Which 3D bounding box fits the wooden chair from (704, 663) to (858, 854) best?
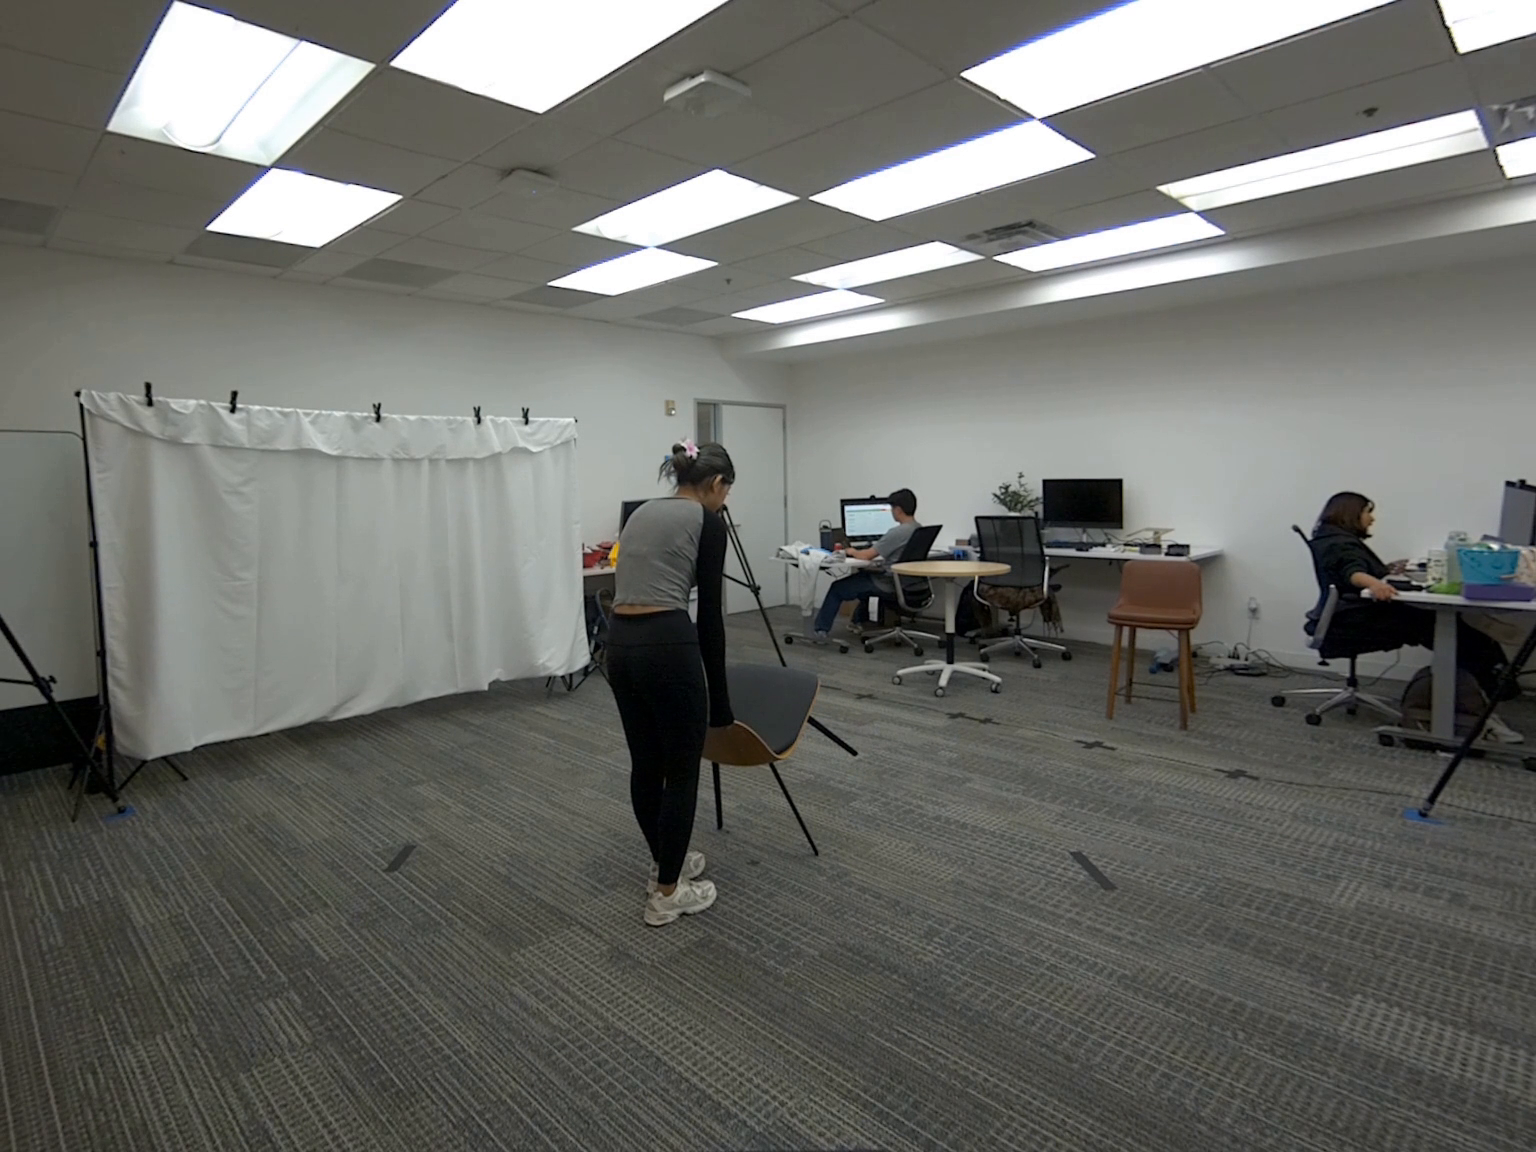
[{"bbox_3d":[-0.057,0.556,3.181,0.492,0.845,0.528,3,49,34],"label":"wooden chair"}]
